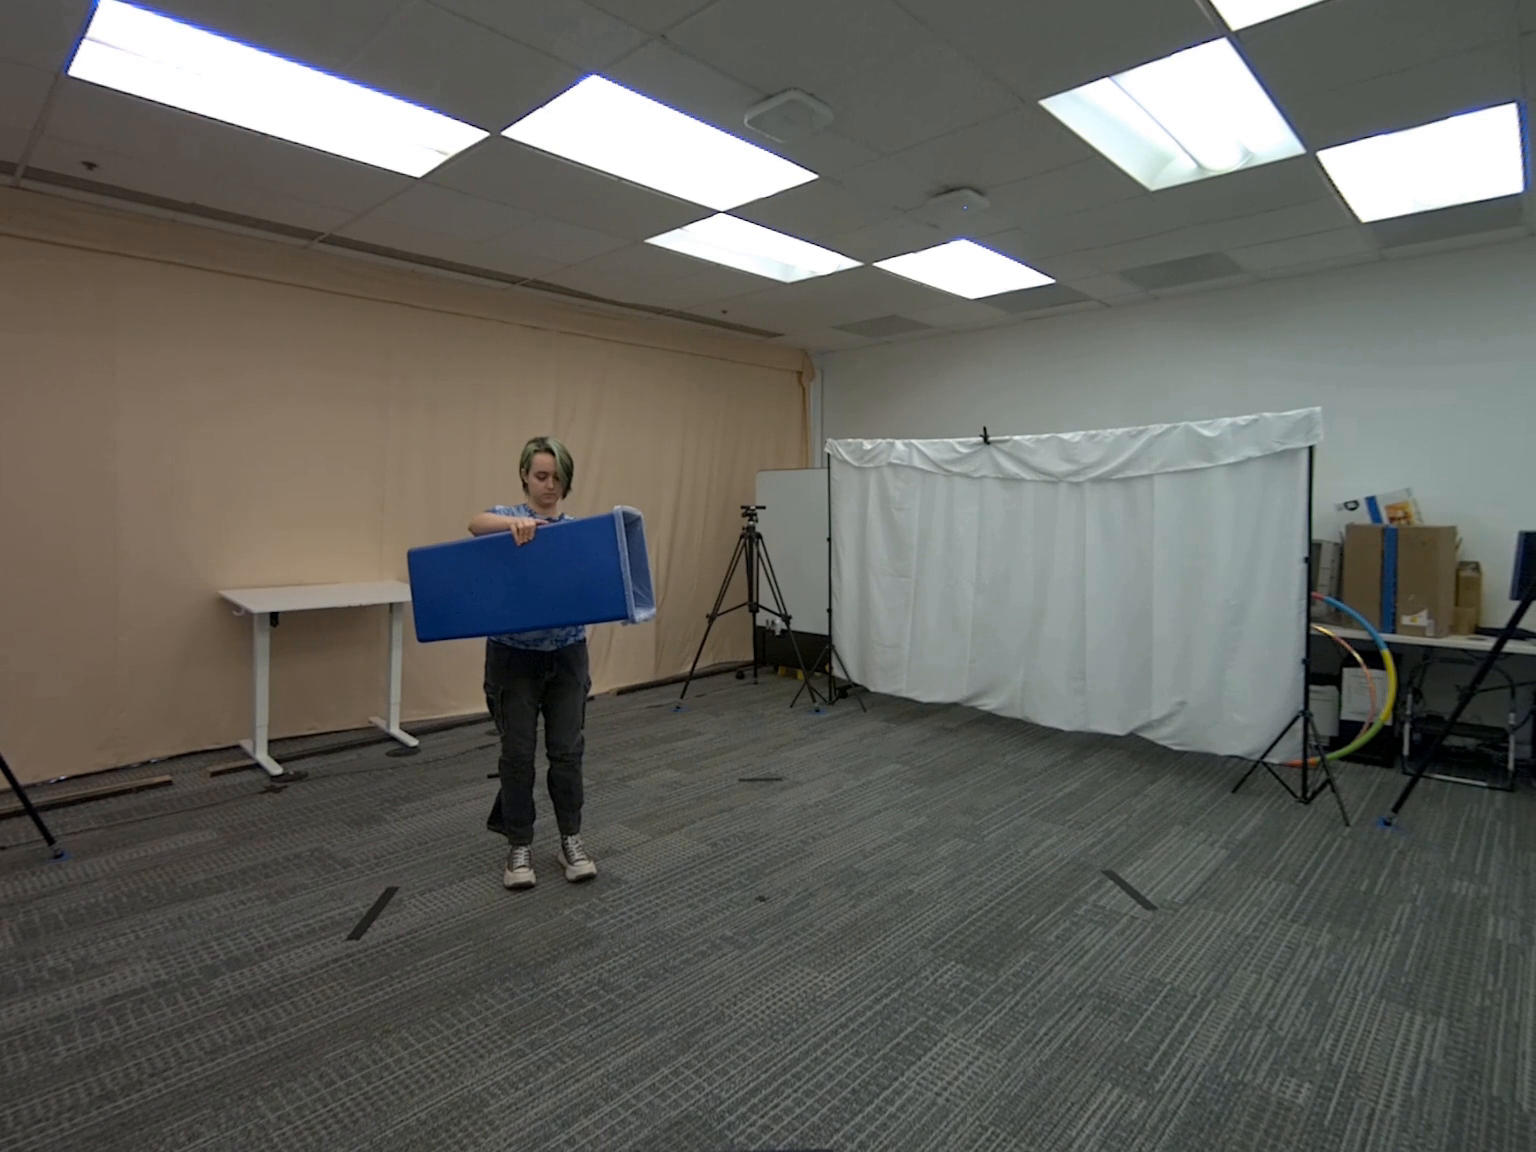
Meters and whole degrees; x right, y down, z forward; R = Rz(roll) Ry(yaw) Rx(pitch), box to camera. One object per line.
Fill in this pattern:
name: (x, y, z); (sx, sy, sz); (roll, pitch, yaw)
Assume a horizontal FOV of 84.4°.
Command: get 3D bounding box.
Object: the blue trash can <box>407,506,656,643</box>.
blue trash can: (-0.765, -0.007, 2.760); (0.718, 0.374, 0.375); (-5, -1, 5)
